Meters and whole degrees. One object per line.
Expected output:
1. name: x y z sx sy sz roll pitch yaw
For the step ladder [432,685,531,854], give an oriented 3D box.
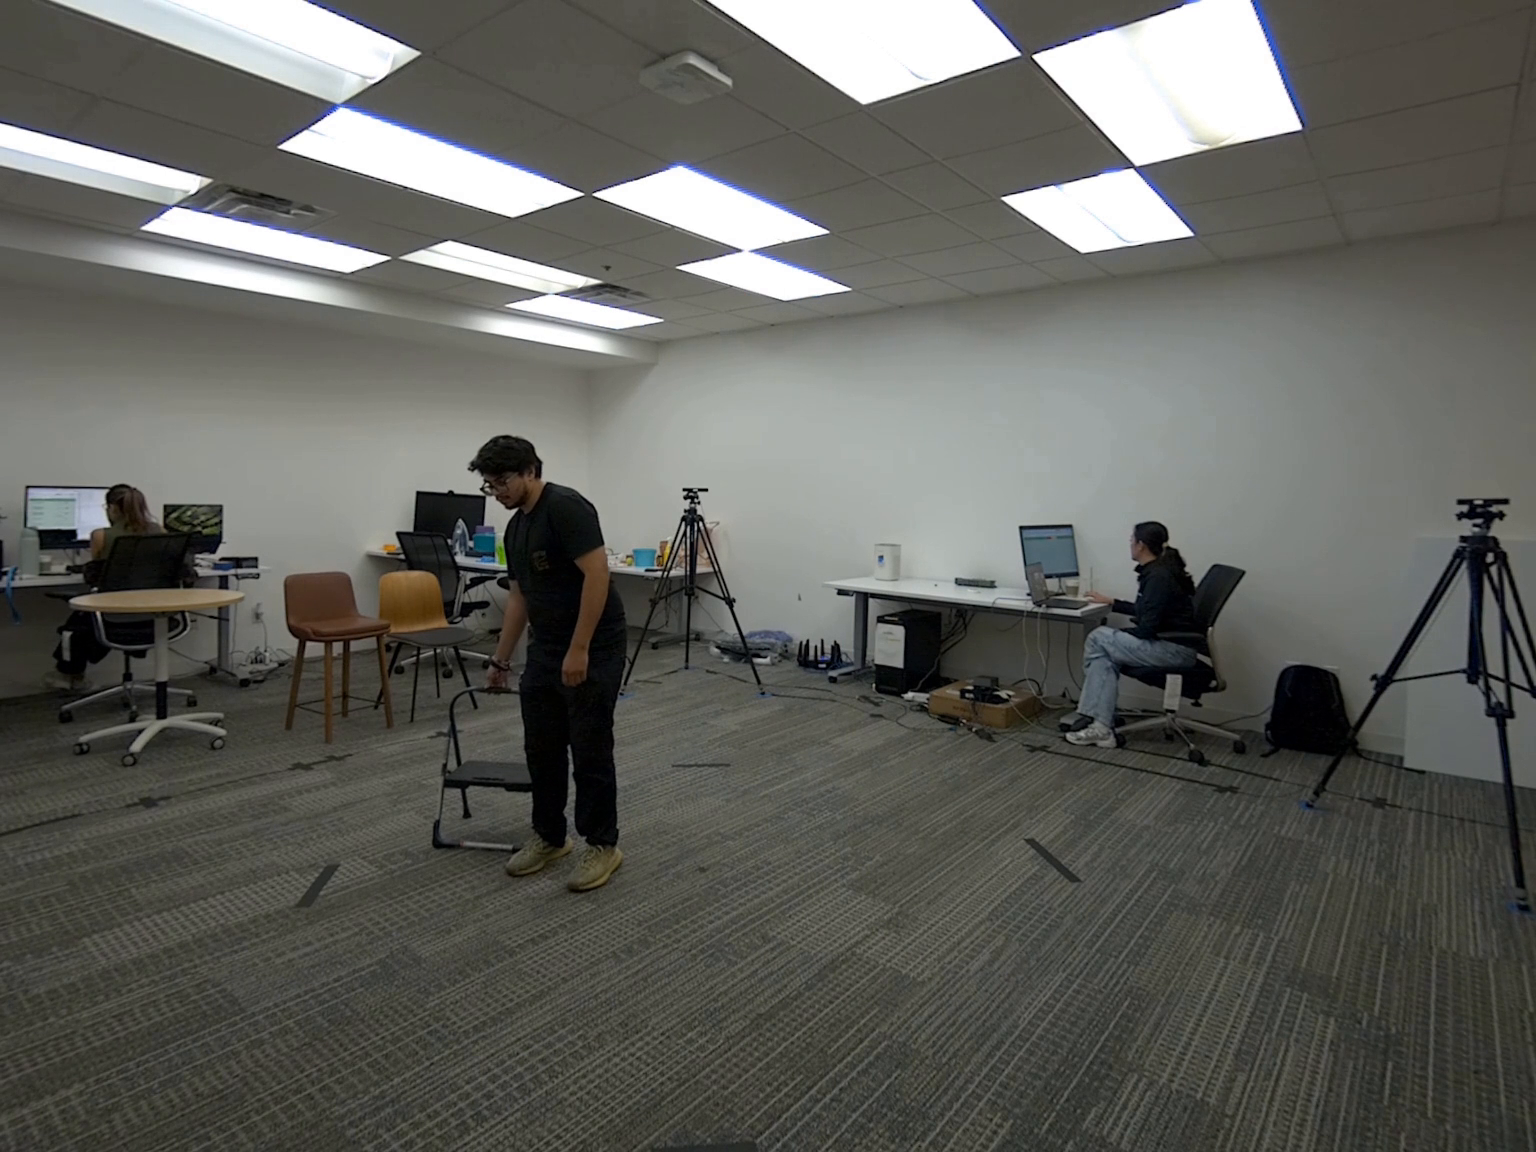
1. step ladder: -1.083 0.725 3.386 0.433 0.605 0.348 1 3 5
